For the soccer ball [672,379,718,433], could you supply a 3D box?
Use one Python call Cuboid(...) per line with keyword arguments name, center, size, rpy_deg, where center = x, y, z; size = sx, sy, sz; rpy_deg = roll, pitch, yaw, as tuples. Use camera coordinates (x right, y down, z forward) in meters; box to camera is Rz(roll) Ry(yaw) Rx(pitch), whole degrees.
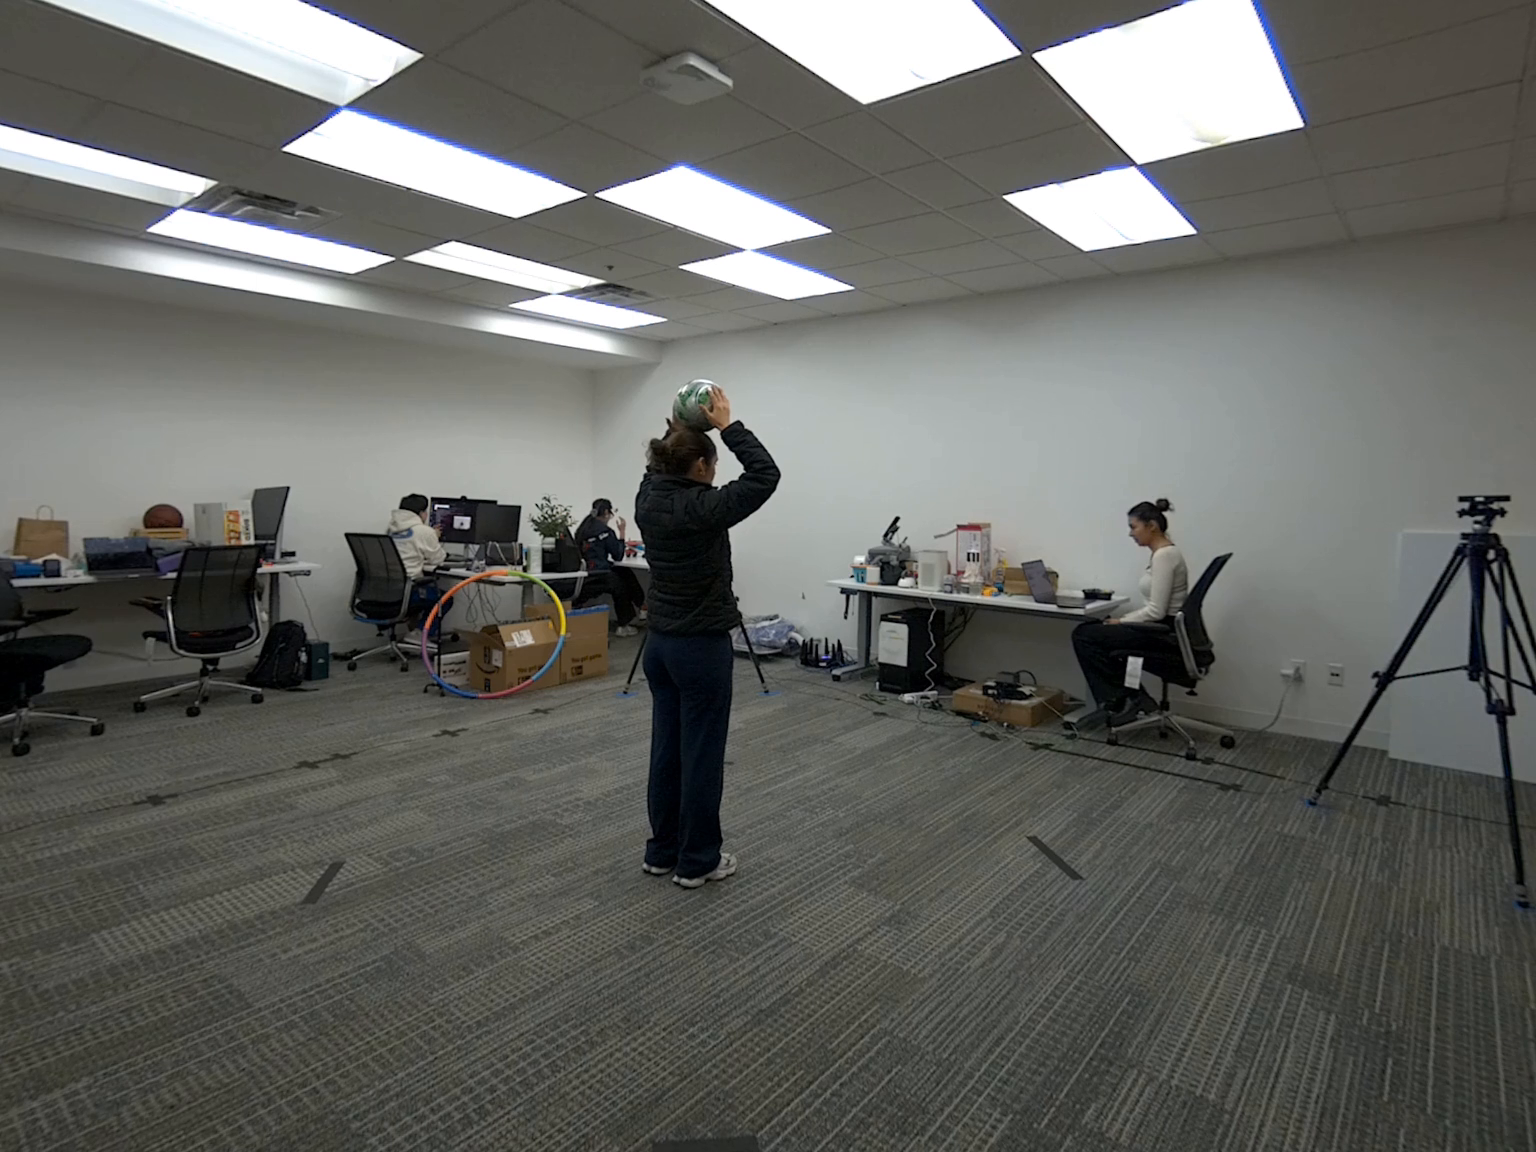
Cuboid(name="soccer ball", center=(-0.255, -0.608, 3.033), size=(0.187, 0.187, 0.188), rpy_deg=(1, 4, -2))
